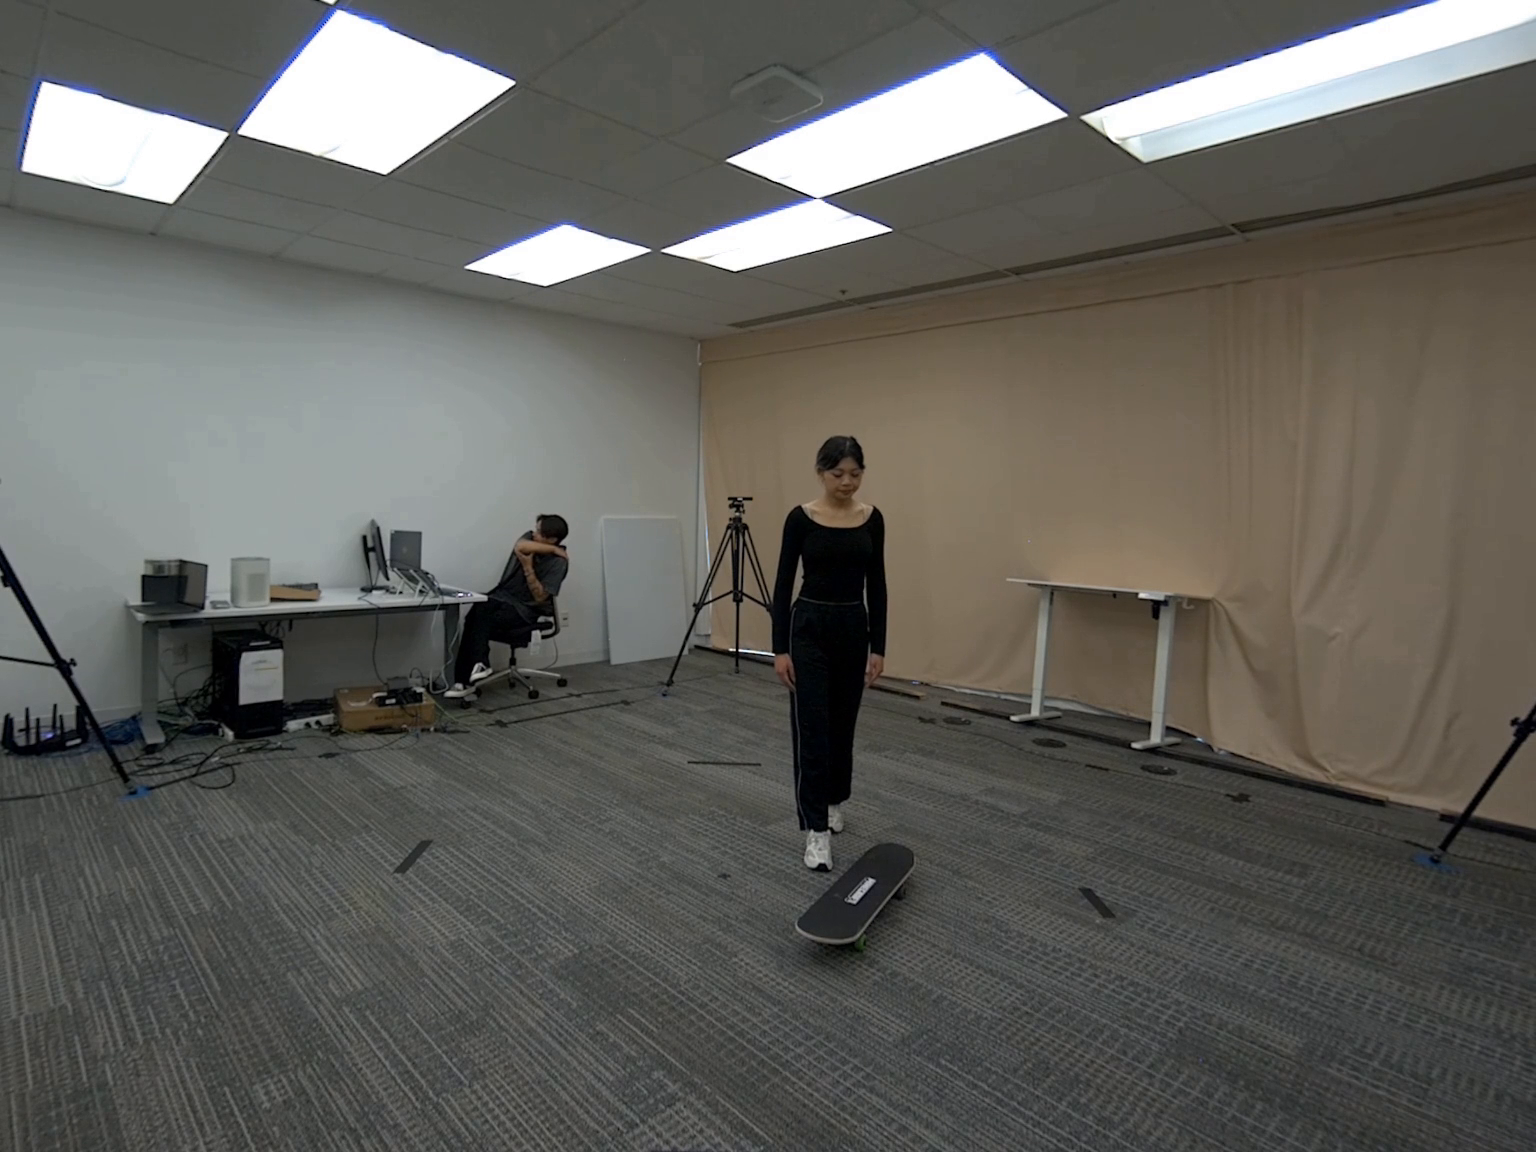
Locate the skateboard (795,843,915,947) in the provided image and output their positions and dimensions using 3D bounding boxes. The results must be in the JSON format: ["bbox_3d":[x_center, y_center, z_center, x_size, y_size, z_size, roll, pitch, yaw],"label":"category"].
[{"bbox_3d":[0.299,1.085,2.819,0.197,0.110,0.772,4,6,26],"label":"skateboard"}]
